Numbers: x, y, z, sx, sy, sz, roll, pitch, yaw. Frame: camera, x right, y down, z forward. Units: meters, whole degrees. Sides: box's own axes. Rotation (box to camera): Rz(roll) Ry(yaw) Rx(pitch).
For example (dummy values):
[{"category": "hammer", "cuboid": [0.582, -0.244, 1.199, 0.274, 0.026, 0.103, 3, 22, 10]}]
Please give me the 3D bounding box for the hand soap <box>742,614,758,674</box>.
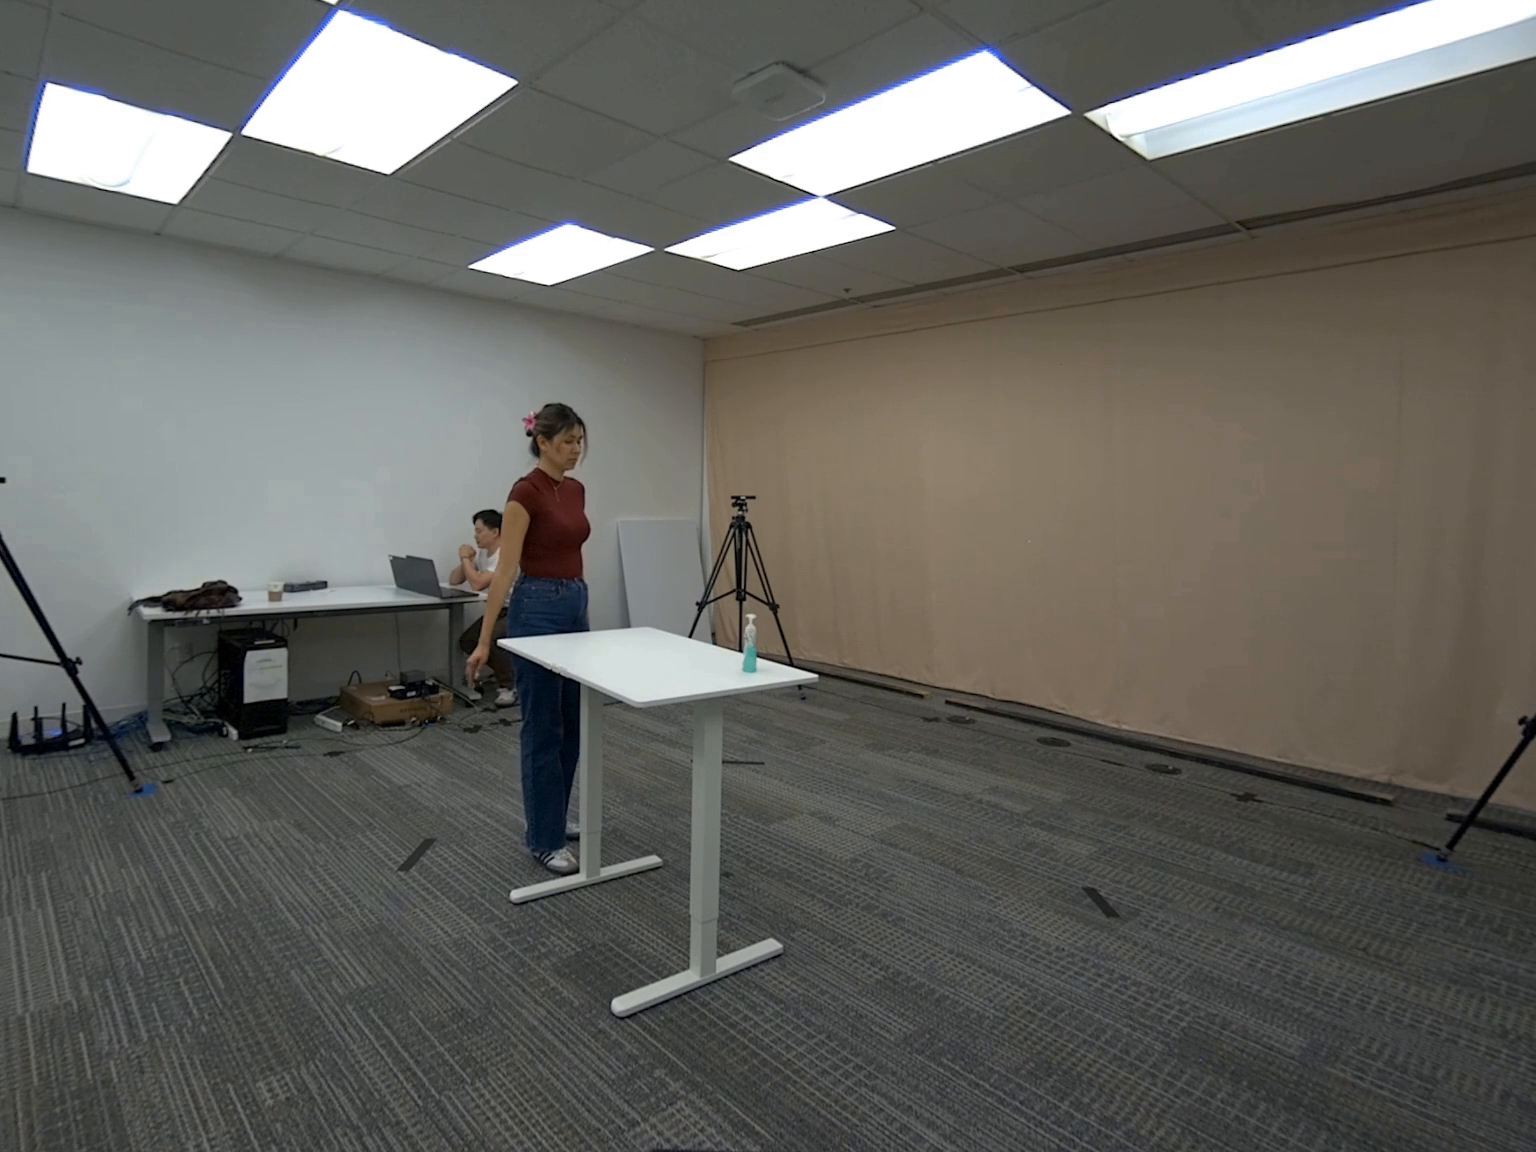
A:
[{"category": "hand soap", "cuboid": [-0.067, 0.198, 2.478, 0.043, 0.168, 0.085, 4, 4, 0]}]
